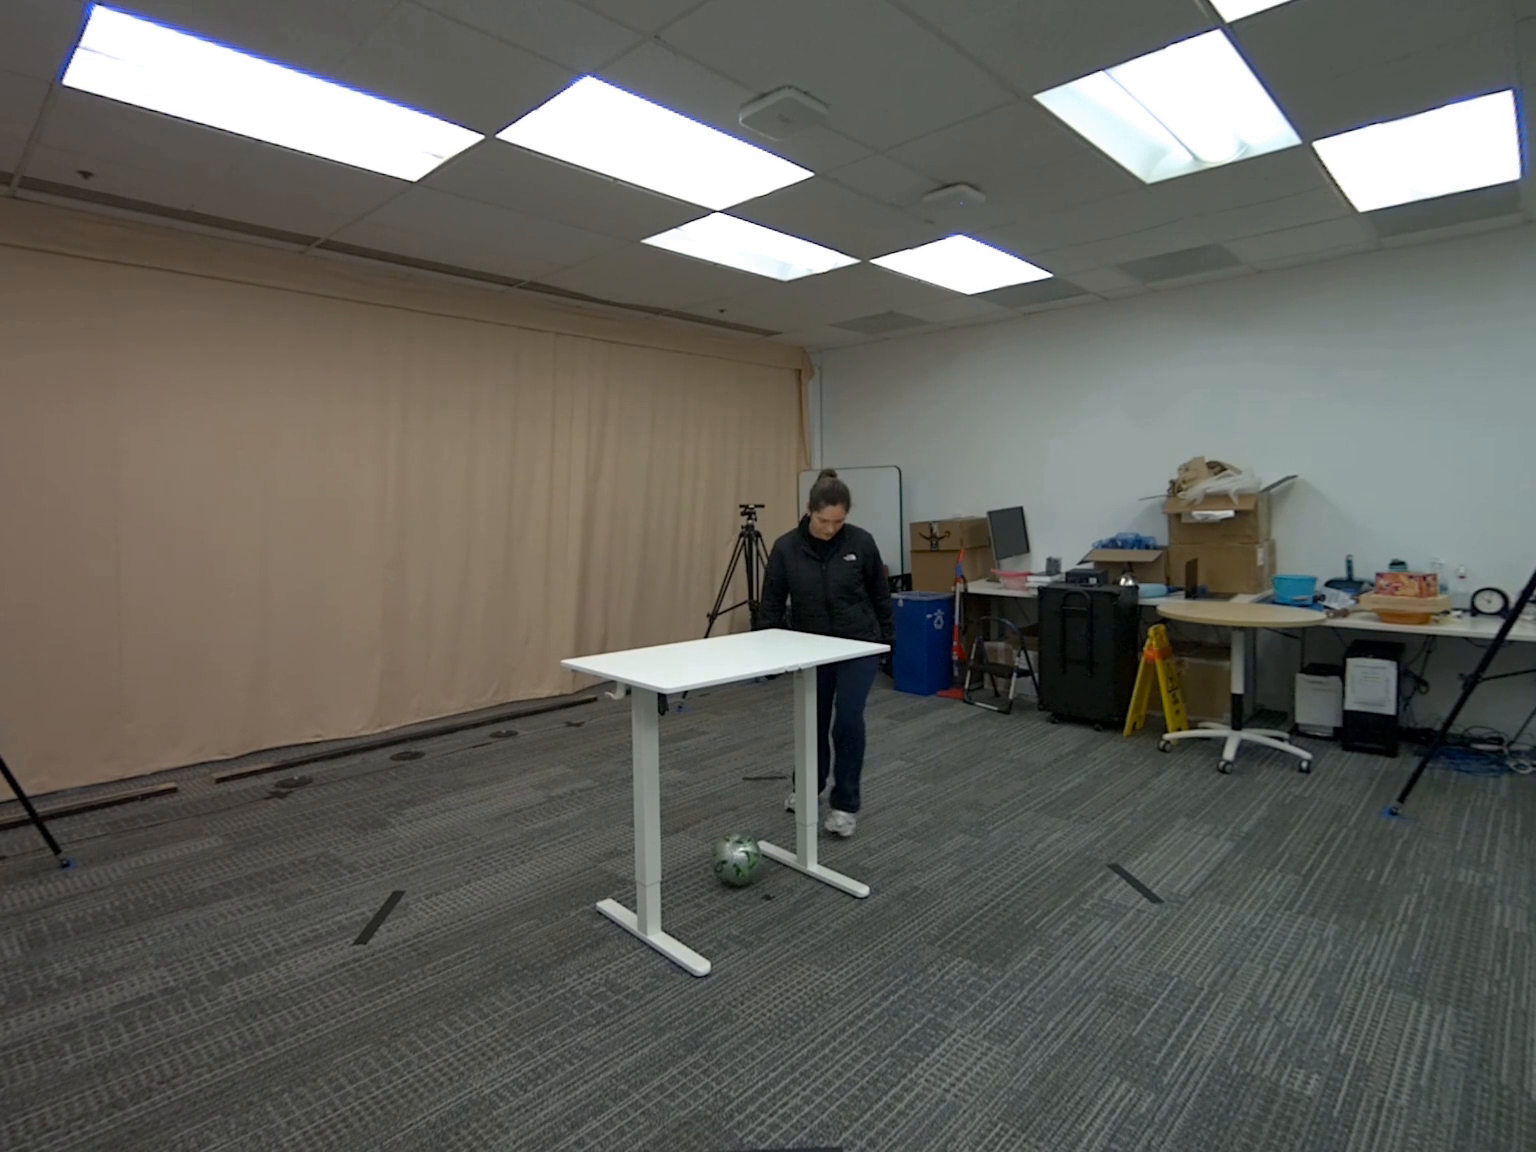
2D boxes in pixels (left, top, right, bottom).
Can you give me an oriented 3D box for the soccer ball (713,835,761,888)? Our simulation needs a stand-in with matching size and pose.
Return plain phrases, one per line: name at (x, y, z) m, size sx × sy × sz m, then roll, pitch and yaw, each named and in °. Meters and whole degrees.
soccer ball at (-0.116, 1.041, 3.094) m, size 0.187 × 0.187 × 0.188 m, roll -1°, pitch 4°, yaw -2°
